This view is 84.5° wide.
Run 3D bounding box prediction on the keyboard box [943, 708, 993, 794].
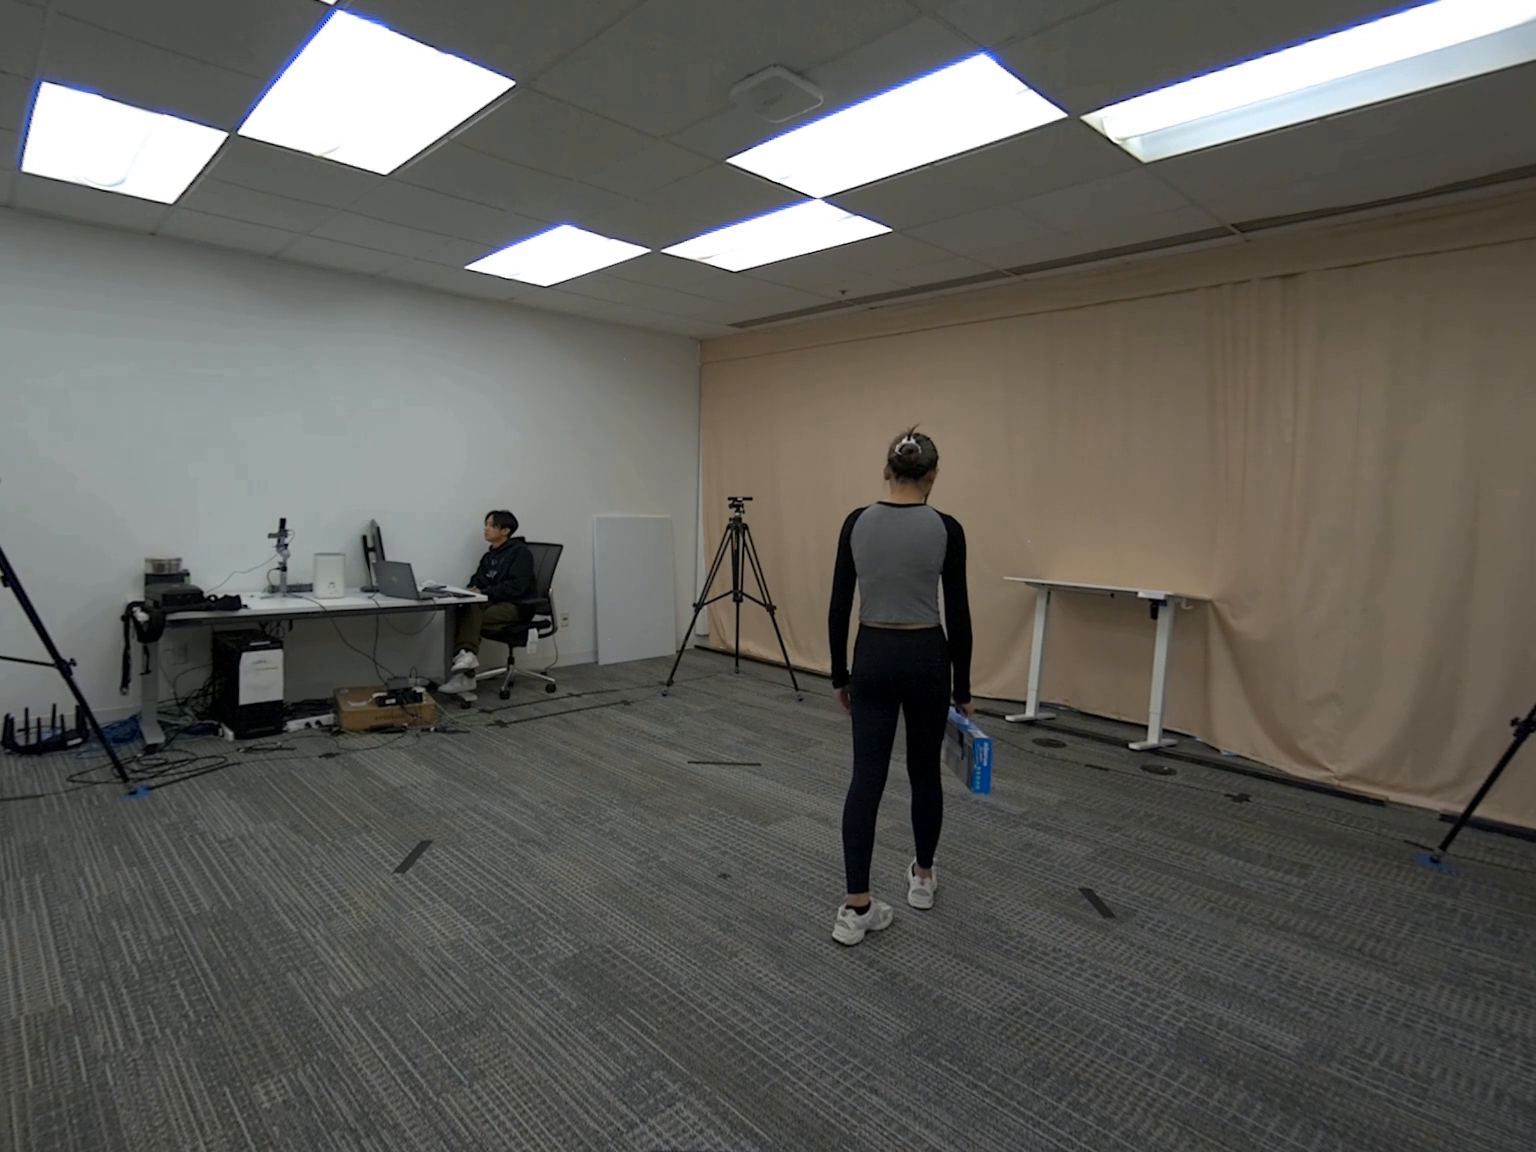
[{"bbox_3d":[0.644,0.570,2.823,0.059,0.175,0.439,2,3,-4],"label":"keyboard box"}]
